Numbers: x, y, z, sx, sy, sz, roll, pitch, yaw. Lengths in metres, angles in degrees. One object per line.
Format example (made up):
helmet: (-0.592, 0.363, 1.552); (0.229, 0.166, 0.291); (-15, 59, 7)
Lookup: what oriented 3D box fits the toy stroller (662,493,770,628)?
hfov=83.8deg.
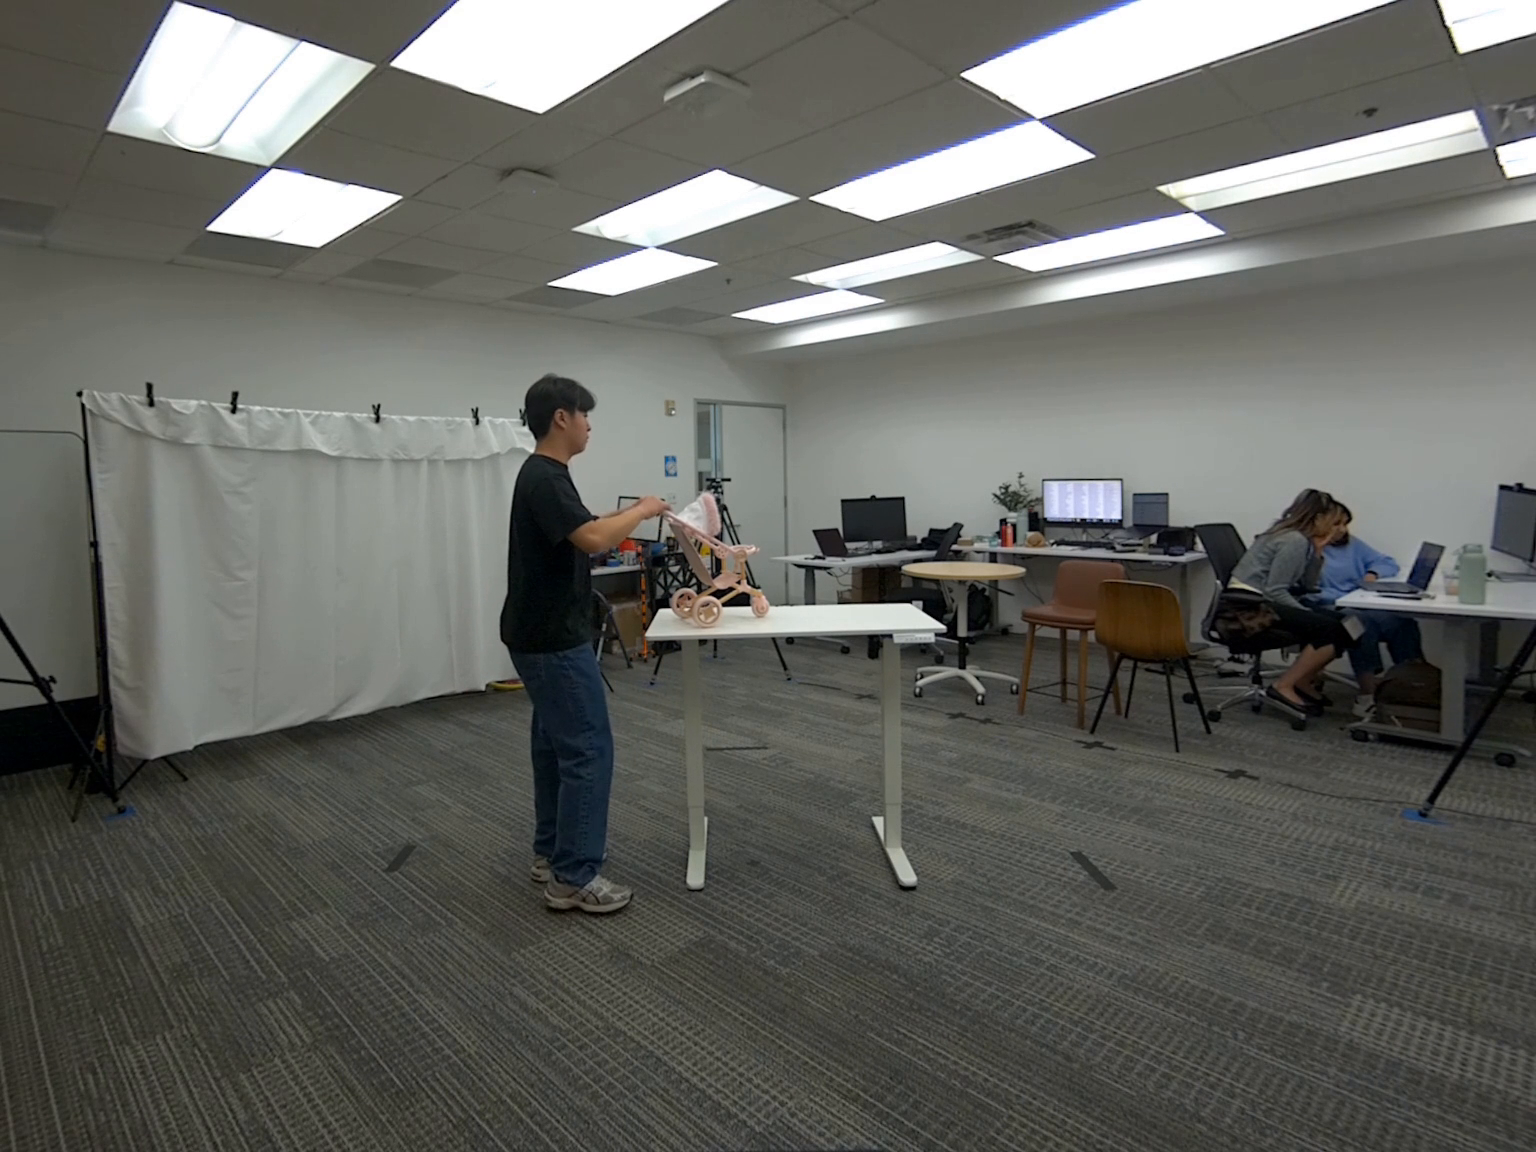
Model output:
toy stroller: (-0.203, -0.061, 3.088); (0.338, 0.530, 0.287); (-17, 9, -14)
